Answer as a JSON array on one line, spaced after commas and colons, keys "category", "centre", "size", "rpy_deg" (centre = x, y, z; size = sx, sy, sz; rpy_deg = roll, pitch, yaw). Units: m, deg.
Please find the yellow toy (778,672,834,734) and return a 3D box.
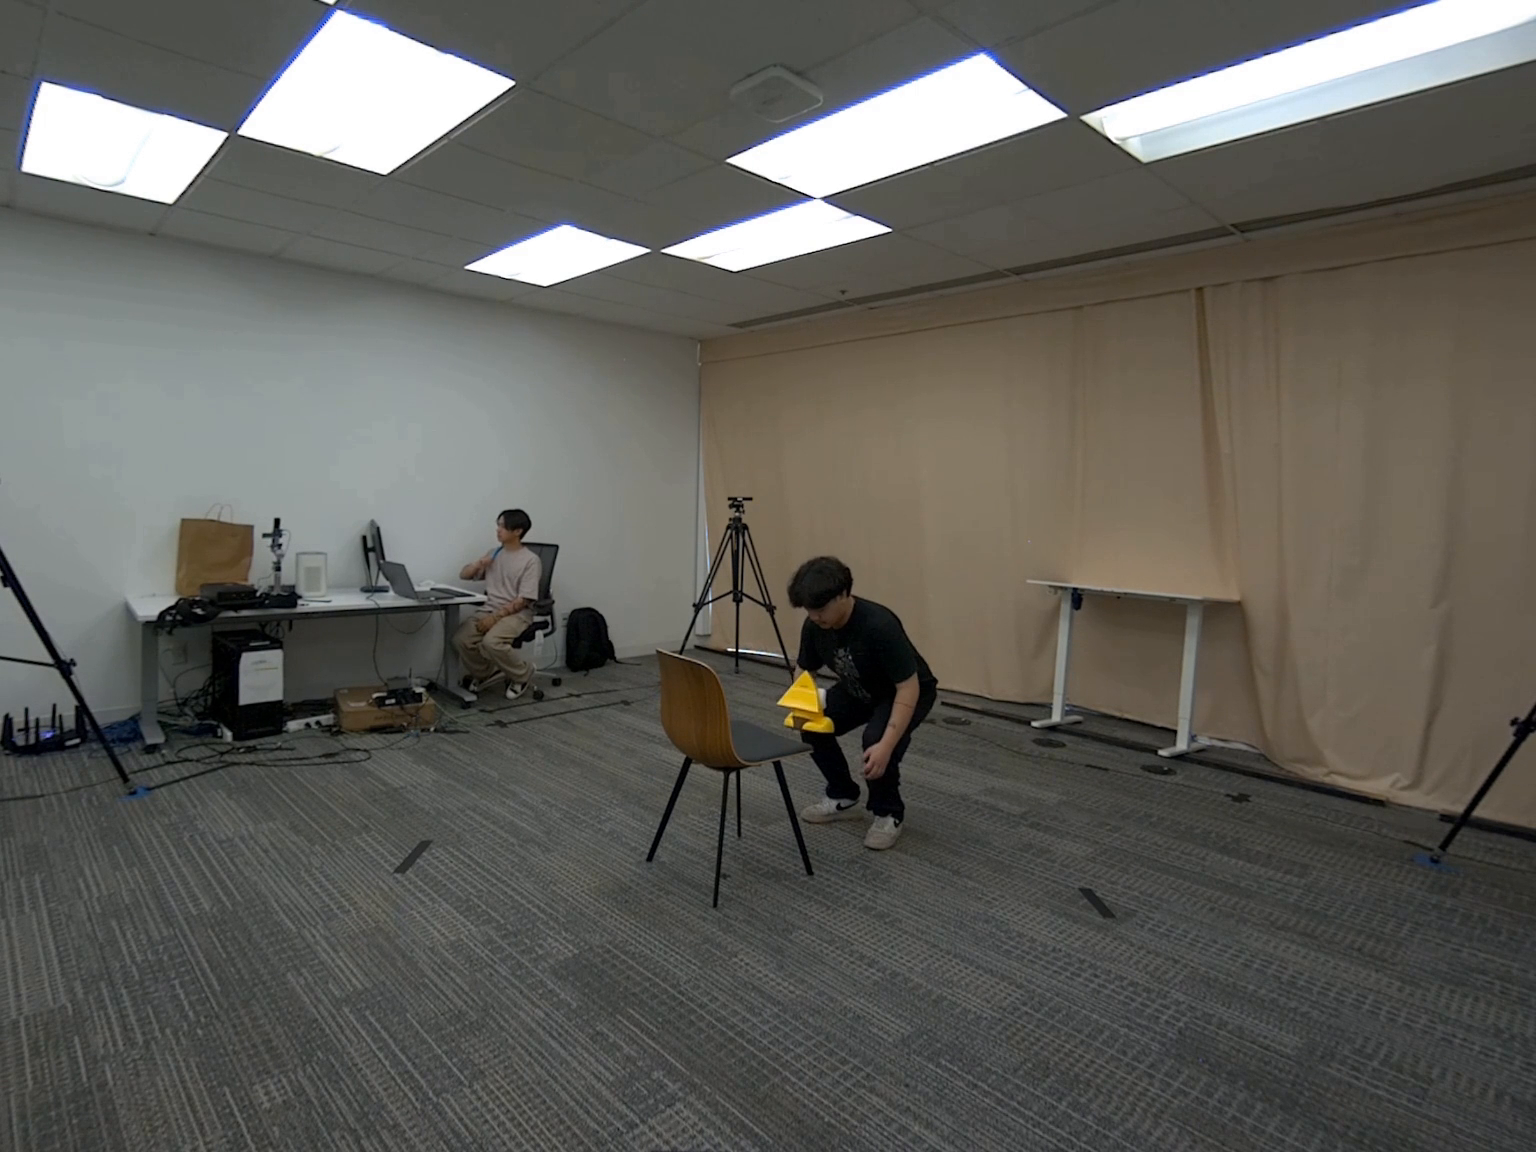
[{"category": "yellow toy", "centre": [0.171, 0.508, 3.447], "size": [0.210, 0.231, 0.187], "rpy_deg": [4, -8, 39]}]
